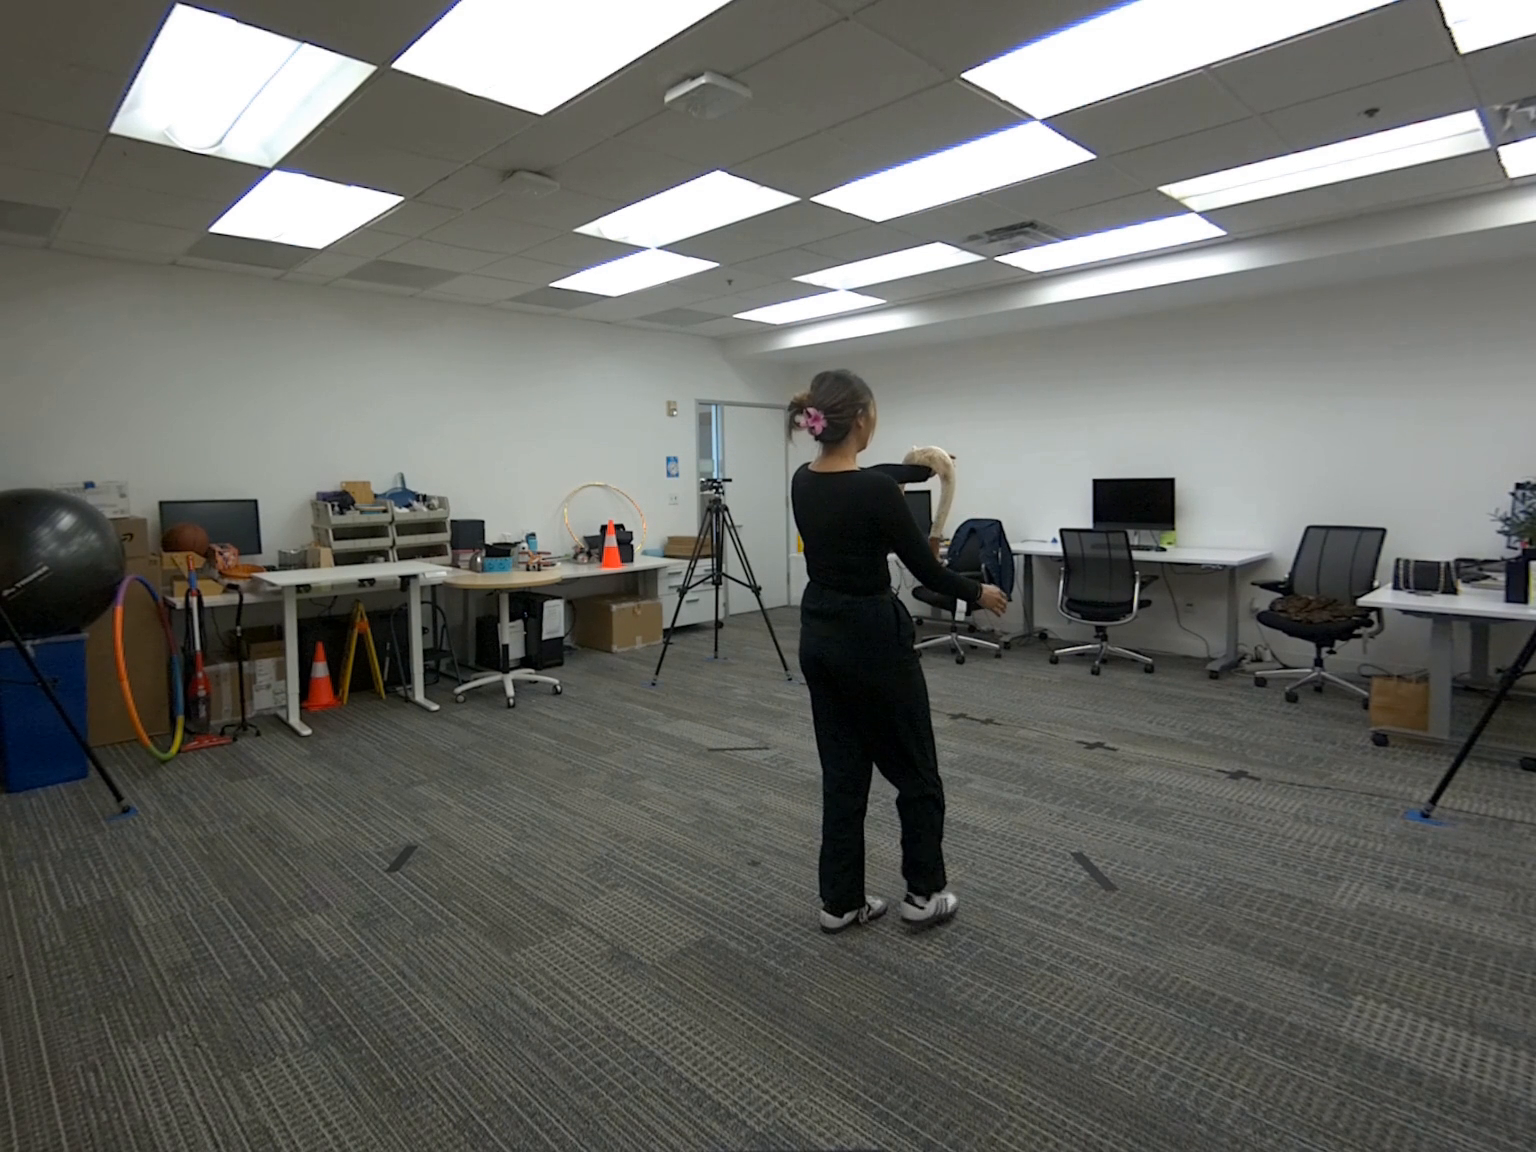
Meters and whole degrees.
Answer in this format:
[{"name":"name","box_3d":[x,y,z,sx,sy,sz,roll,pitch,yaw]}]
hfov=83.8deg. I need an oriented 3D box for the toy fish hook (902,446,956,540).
[{"name":"toy fish hook","box_3d":[0.544,-0.192,2.961,0.232,0.503,0.047,5,10,43]}]
